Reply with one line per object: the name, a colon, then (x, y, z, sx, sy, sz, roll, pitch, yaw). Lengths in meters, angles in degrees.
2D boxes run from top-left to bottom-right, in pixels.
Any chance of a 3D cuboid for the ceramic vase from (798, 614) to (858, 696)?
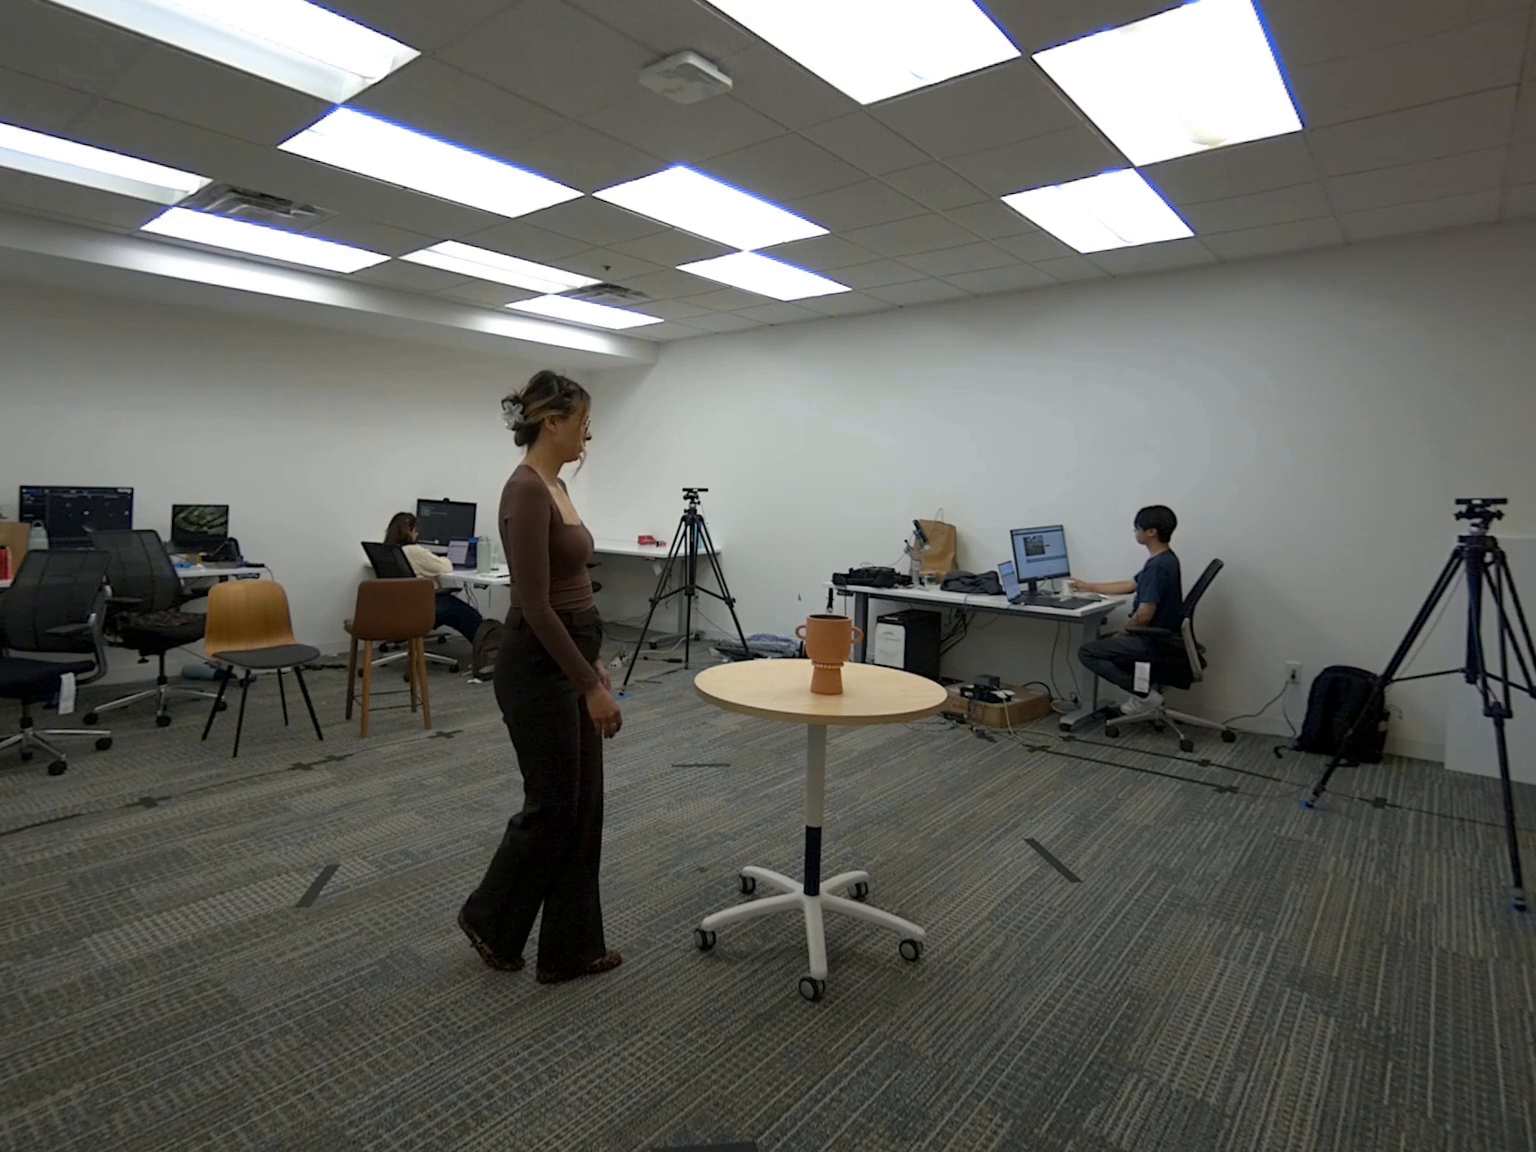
ceramic vase: (0.174, 0.232, 2.505, 0.130, 0.219, 0.164, -3, 6, -44)
